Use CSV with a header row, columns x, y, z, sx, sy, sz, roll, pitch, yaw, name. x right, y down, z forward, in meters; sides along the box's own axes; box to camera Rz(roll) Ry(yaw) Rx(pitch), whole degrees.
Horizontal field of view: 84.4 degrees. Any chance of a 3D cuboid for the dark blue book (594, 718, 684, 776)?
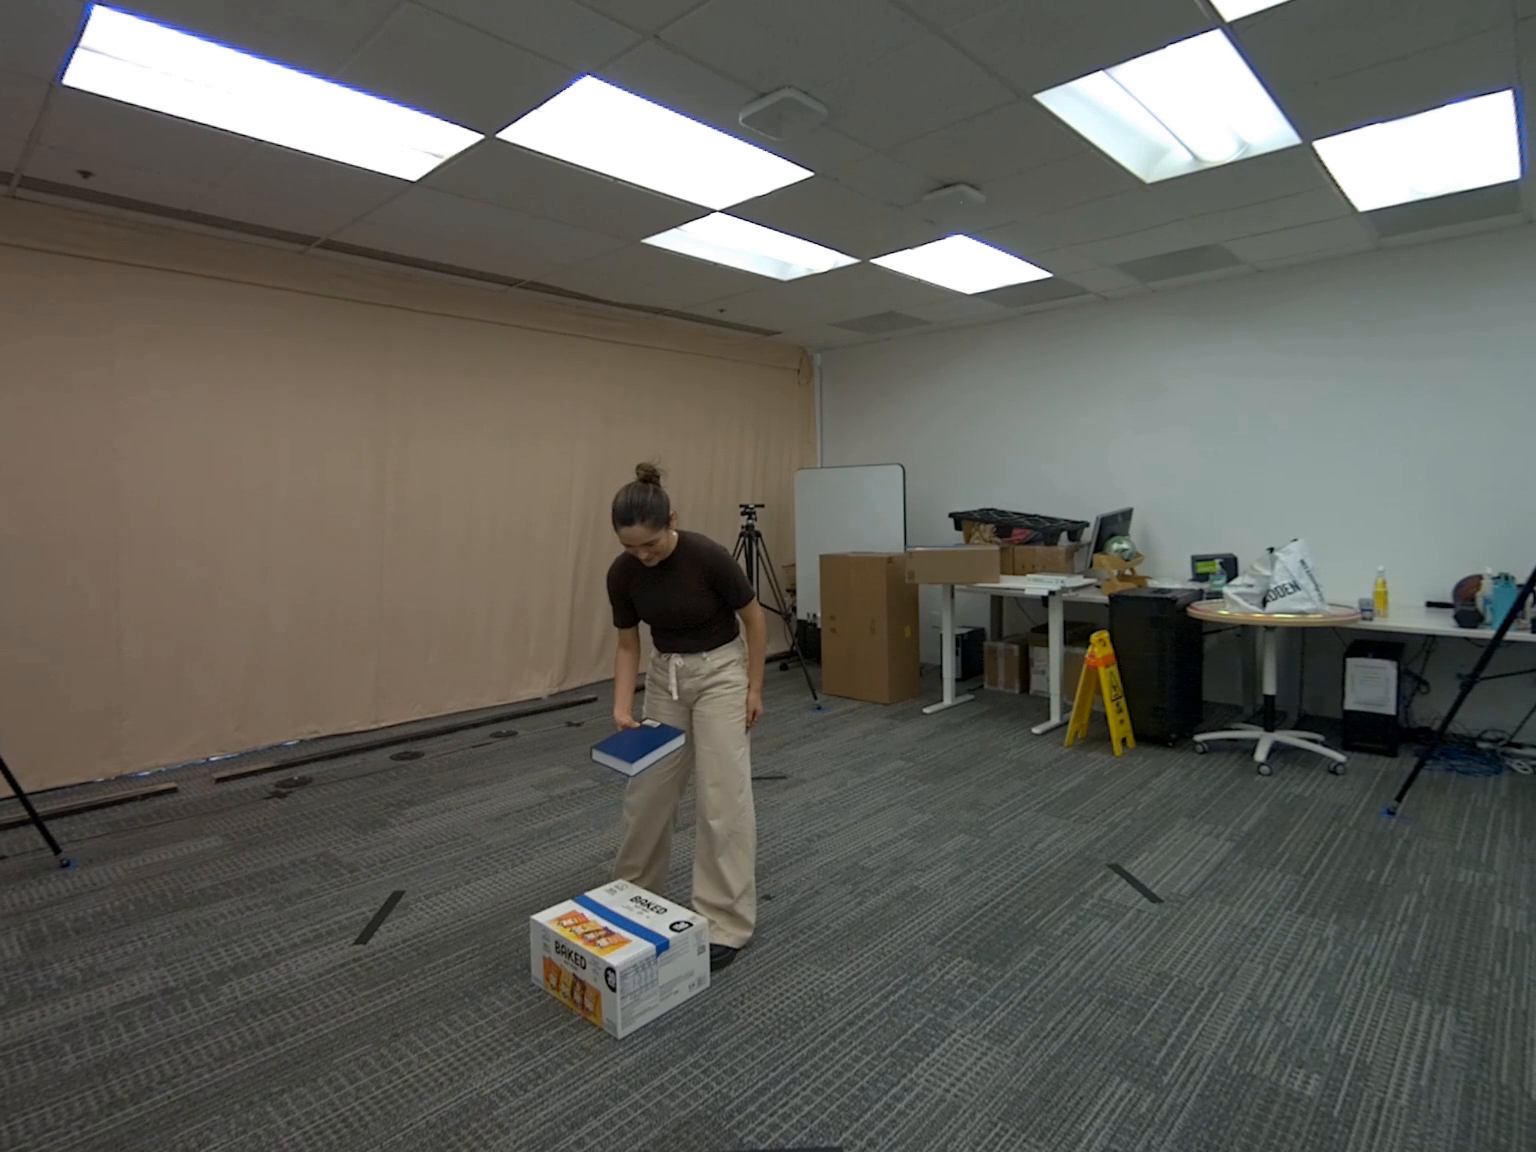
x,y,z,sx,sy,sz,roll,pitch,yaw,name
-0.362,0.486,2.468,0.169,0.045,0.239,11,19,34,dark blue book
